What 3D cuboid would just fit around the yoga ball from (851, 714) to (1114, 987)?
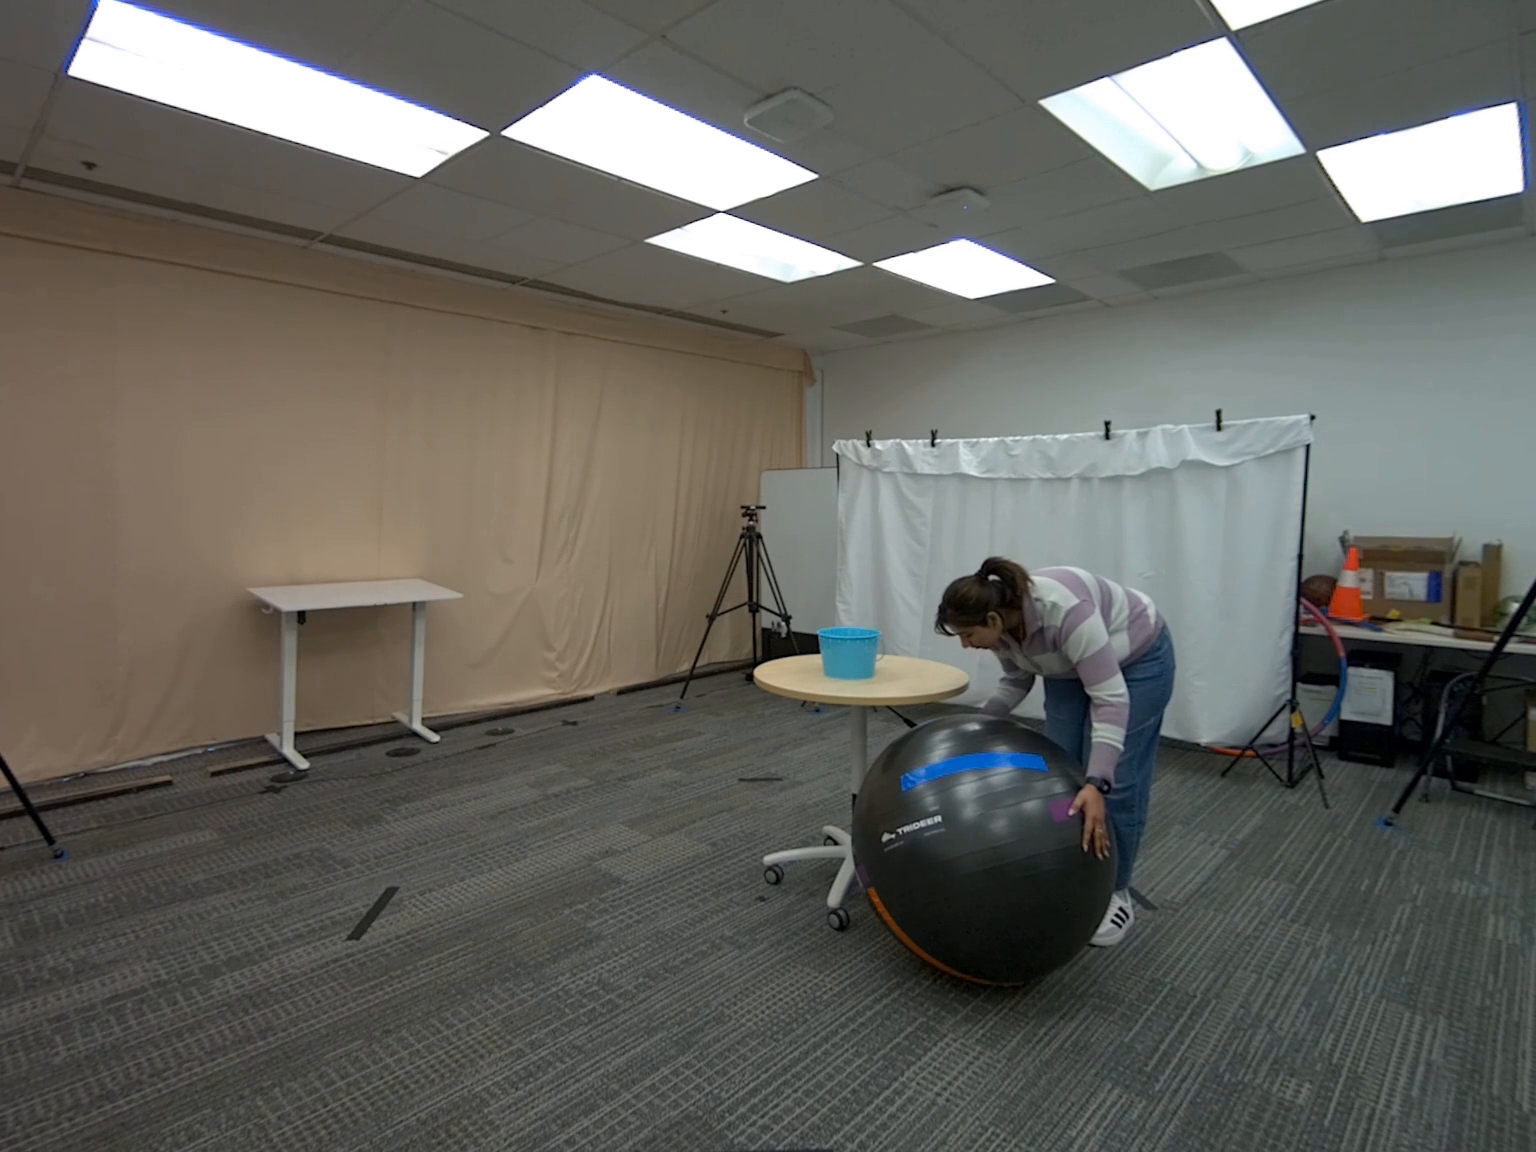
[{"bbox_3d":[0.638,0.809,2.532,0.757,0.756,0.760,0,4,-2],"label":"yoga ball"}]
